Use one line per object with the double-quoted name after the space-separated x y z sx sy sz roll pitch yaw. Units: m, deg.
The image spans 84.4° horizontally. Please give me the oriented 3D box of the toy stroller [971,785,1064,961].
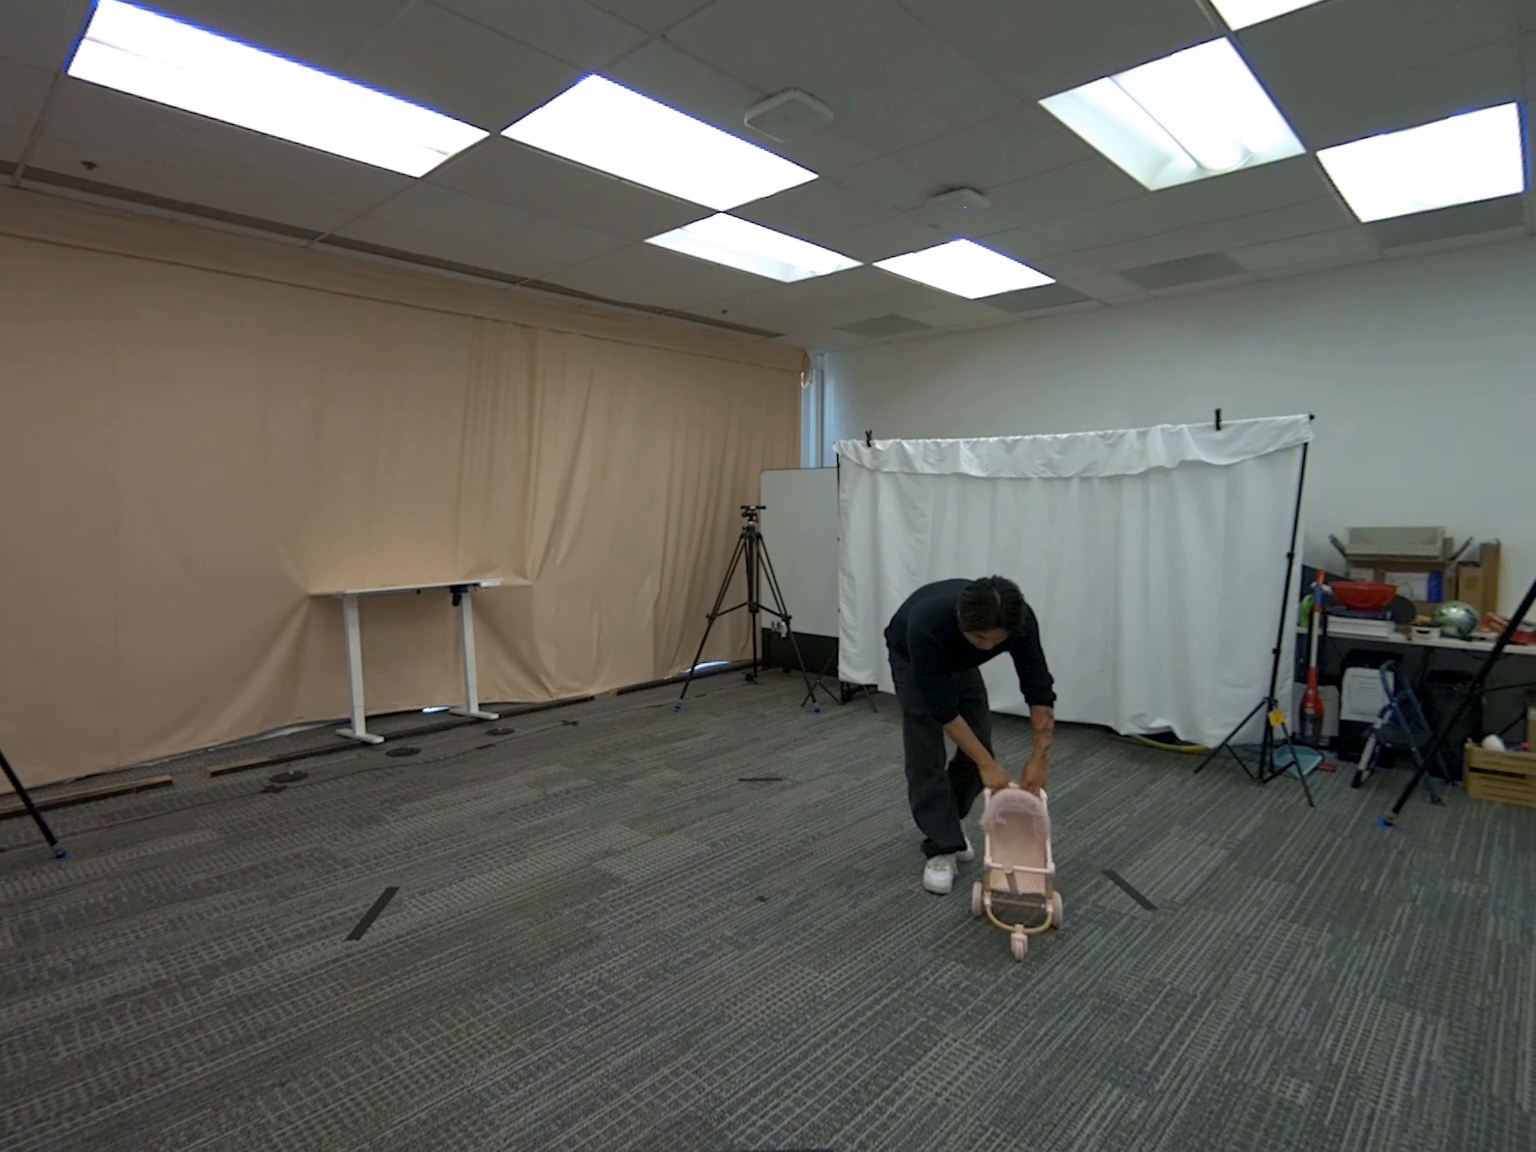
0.808 0.934 2.758 0.287 0.539 0.332 1 -15 20 "toy stroller"
